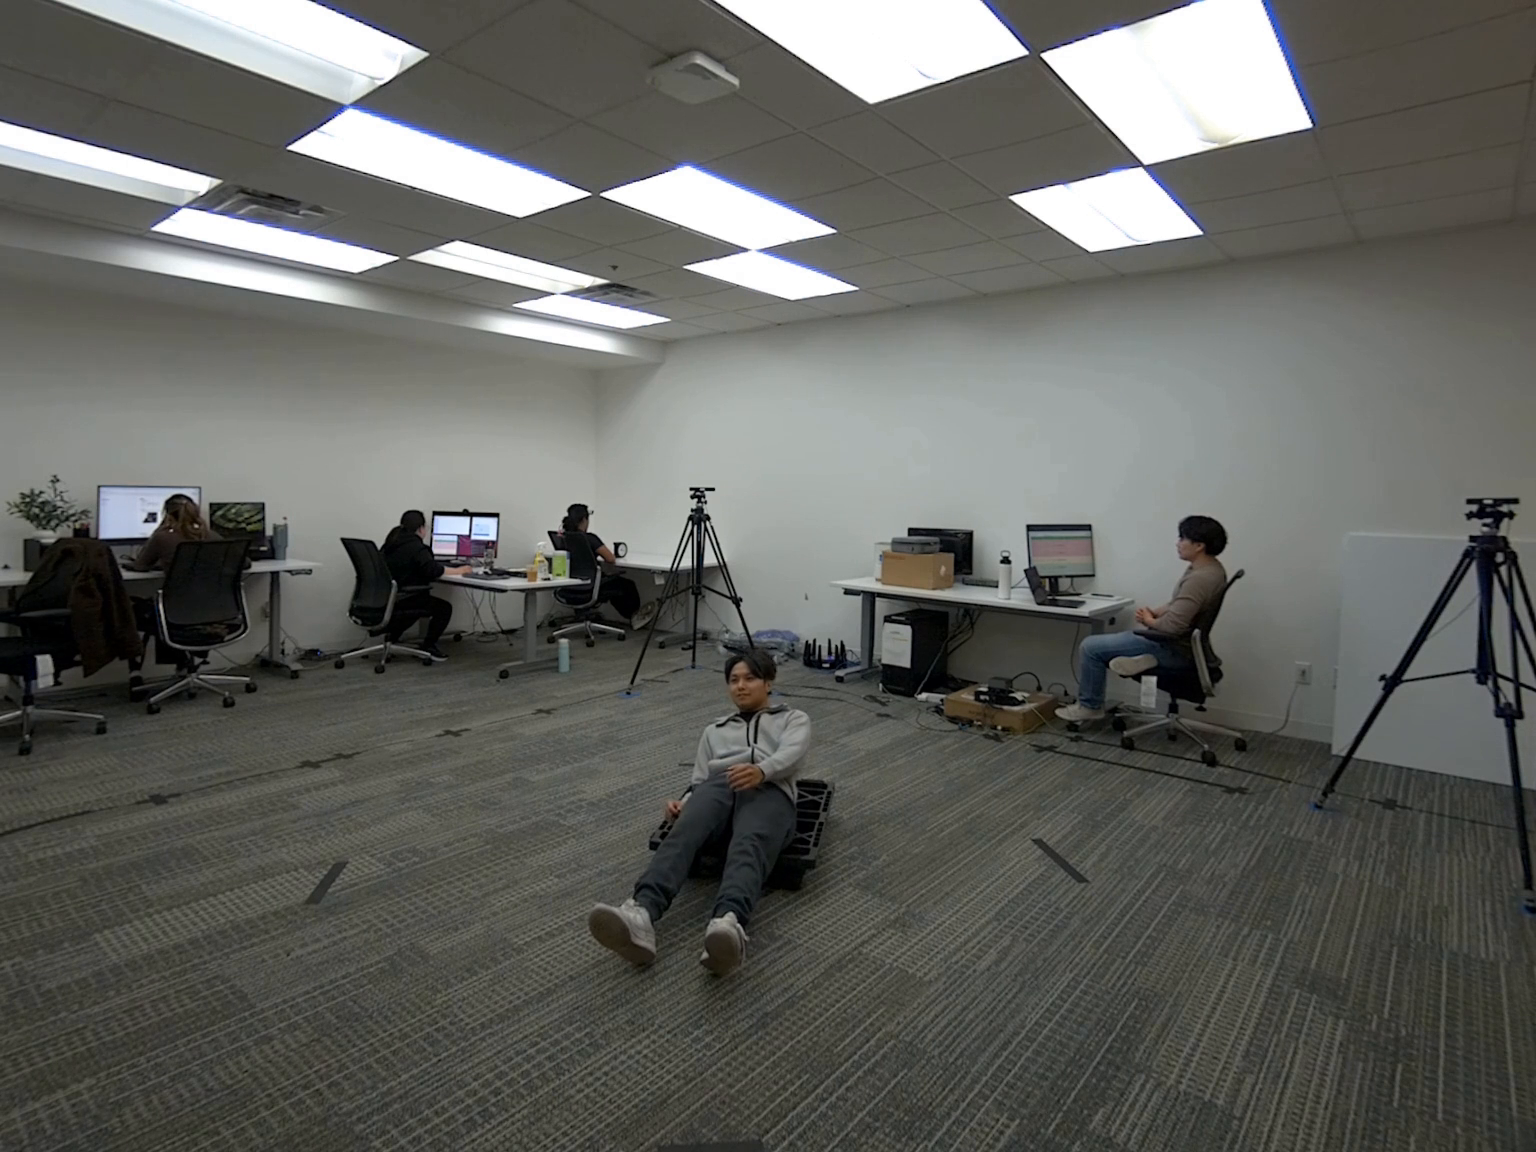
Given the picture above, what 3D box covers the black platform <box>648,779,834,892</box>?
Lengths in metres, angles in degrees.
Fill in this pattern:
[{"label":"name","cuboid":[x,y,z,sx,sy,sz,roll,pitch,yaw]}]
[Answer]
[{"label":"black platform","cuboid":[-0.081,0.974,3.343,0.613,0.143,0.798,1,6,11]}]
